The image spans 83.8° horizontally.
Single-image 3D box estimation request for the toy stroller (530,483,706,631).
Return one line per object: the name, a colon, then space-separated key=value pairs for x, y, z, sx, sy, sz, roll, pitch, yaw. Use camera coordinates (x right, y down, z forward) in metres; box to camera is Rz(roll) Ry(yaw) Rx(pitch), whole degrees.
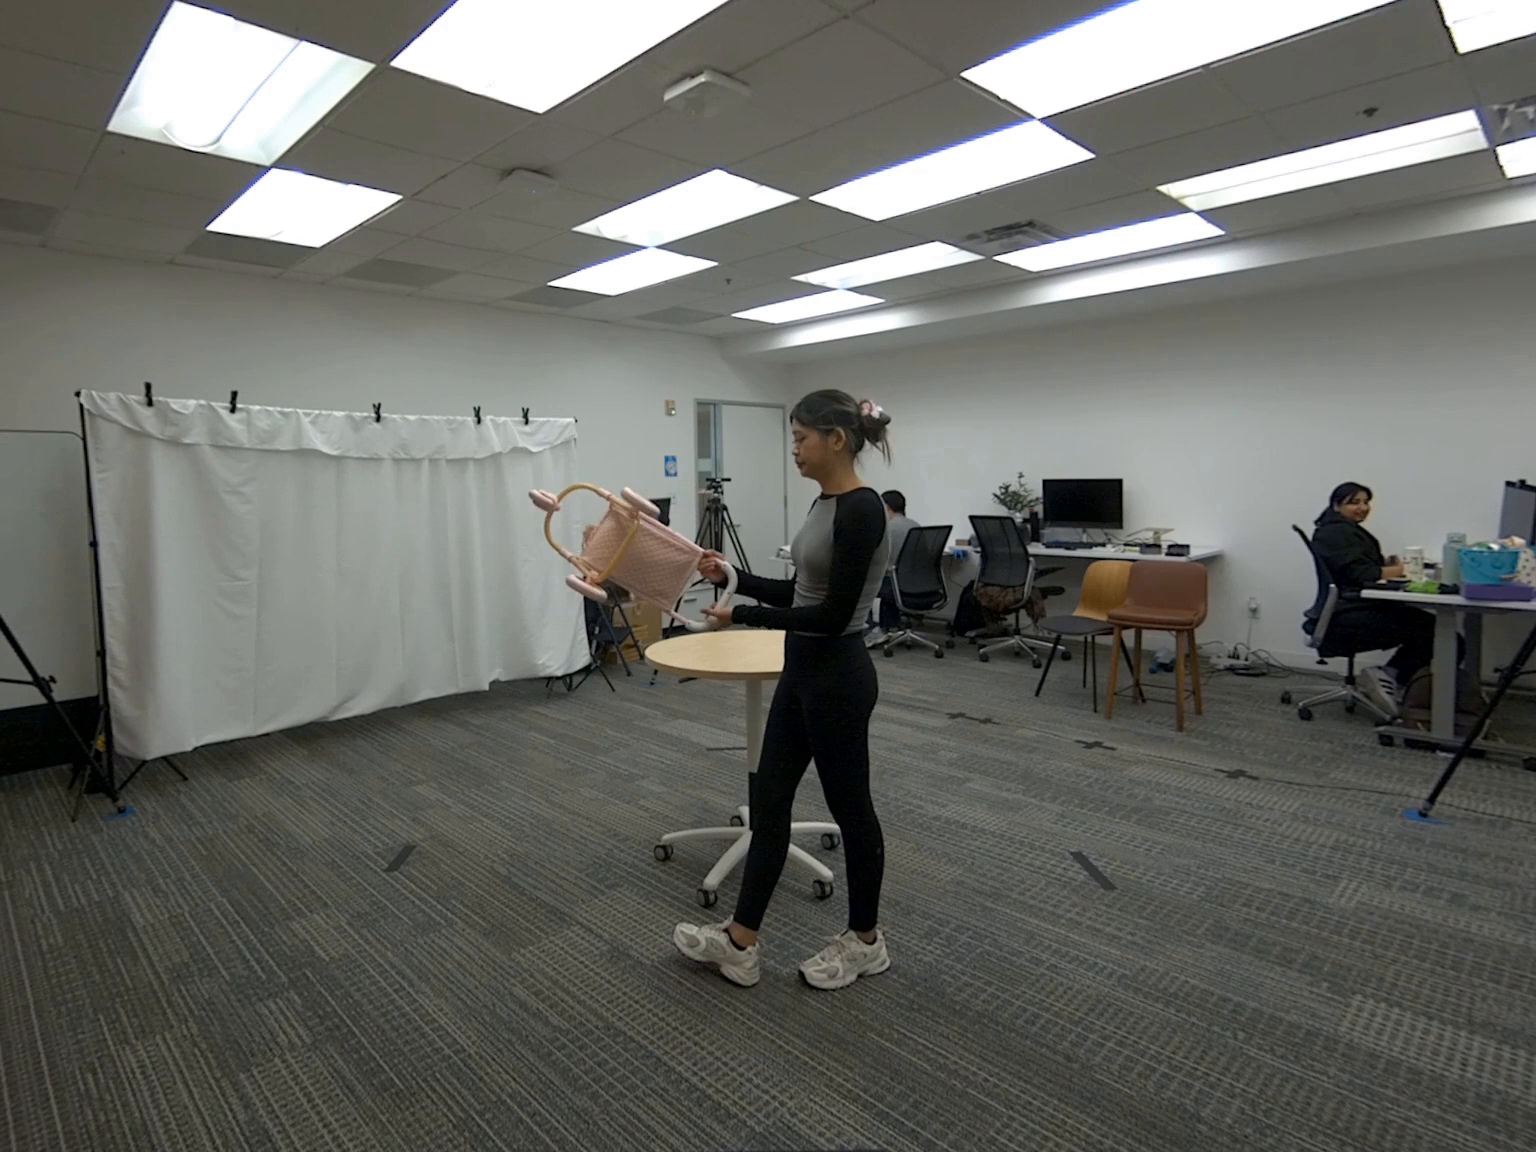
toy stroller: x=-0.361 y=-0.075 z=2.278 sx=0.354 sy=0.282 sz=0.514 roll=24 pitch=-5 yaw=41
